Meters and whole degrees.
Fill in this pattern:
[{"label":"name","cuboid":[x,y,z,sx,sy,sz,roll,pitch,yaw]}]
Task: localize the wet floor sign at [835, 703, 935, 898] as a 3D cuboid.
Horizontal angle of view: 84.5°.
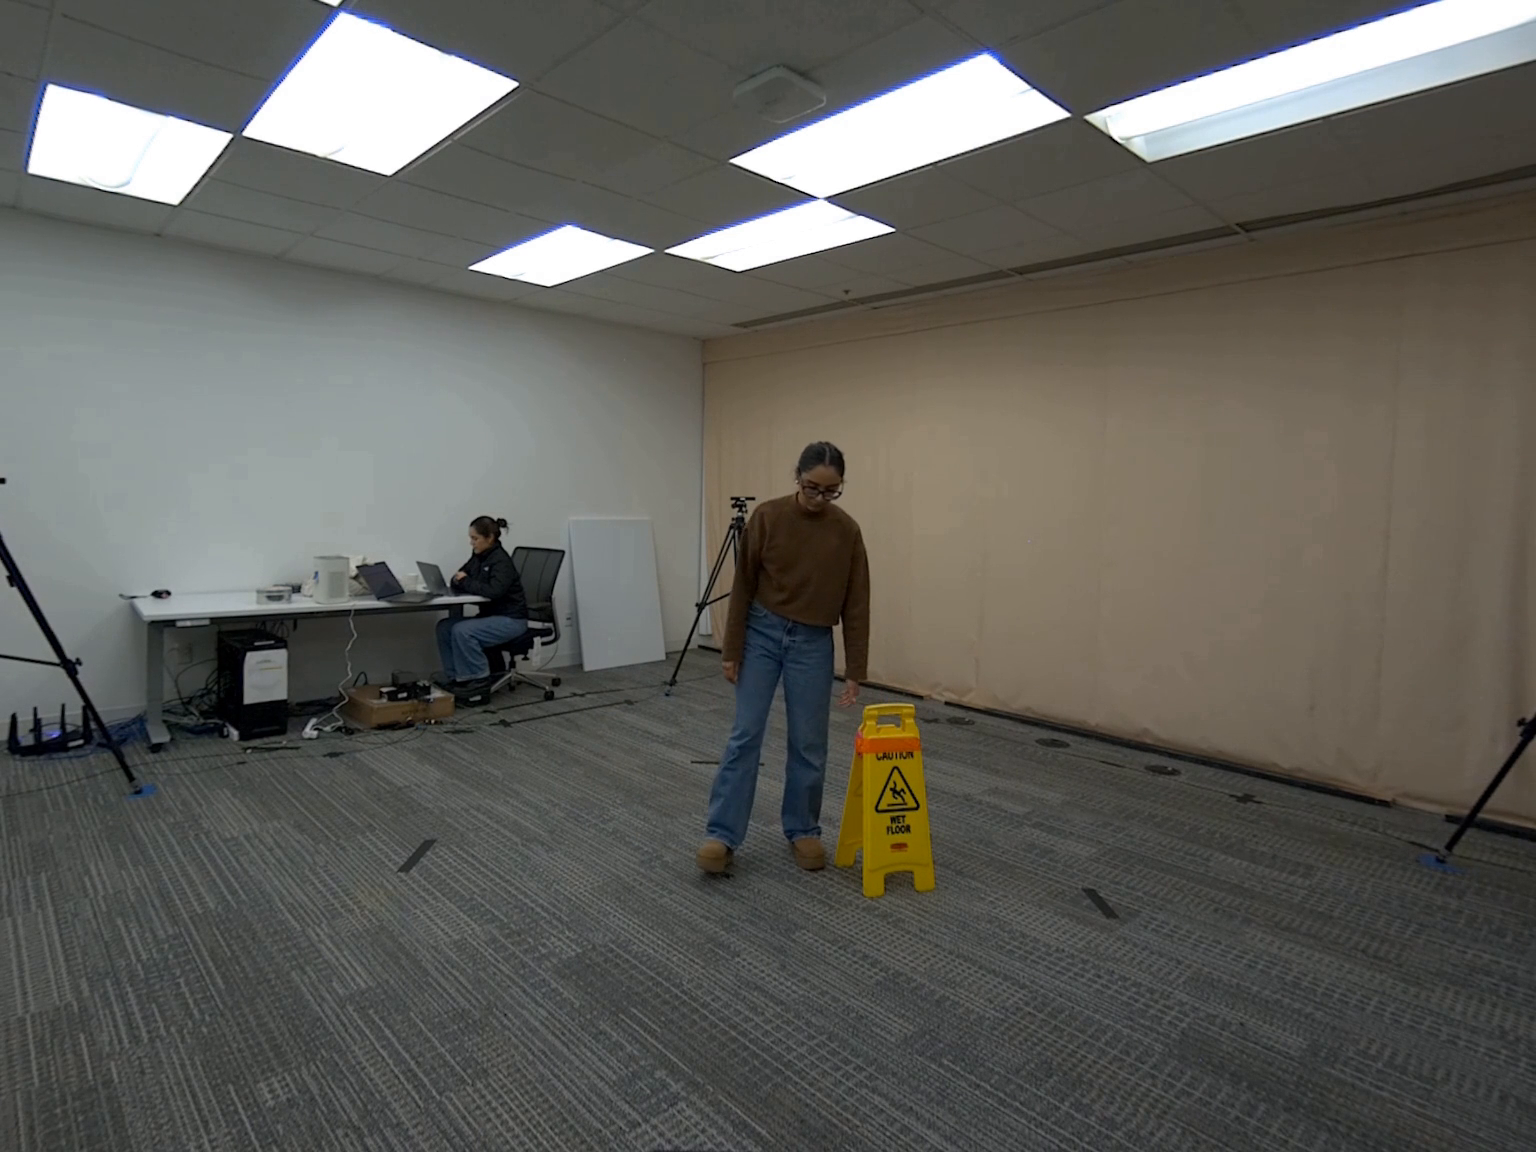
[{"label":"wet floor sign","cuboid":[0.427,0.793,3.107,0.278,0.645,0.294,2,3,-18]}]
